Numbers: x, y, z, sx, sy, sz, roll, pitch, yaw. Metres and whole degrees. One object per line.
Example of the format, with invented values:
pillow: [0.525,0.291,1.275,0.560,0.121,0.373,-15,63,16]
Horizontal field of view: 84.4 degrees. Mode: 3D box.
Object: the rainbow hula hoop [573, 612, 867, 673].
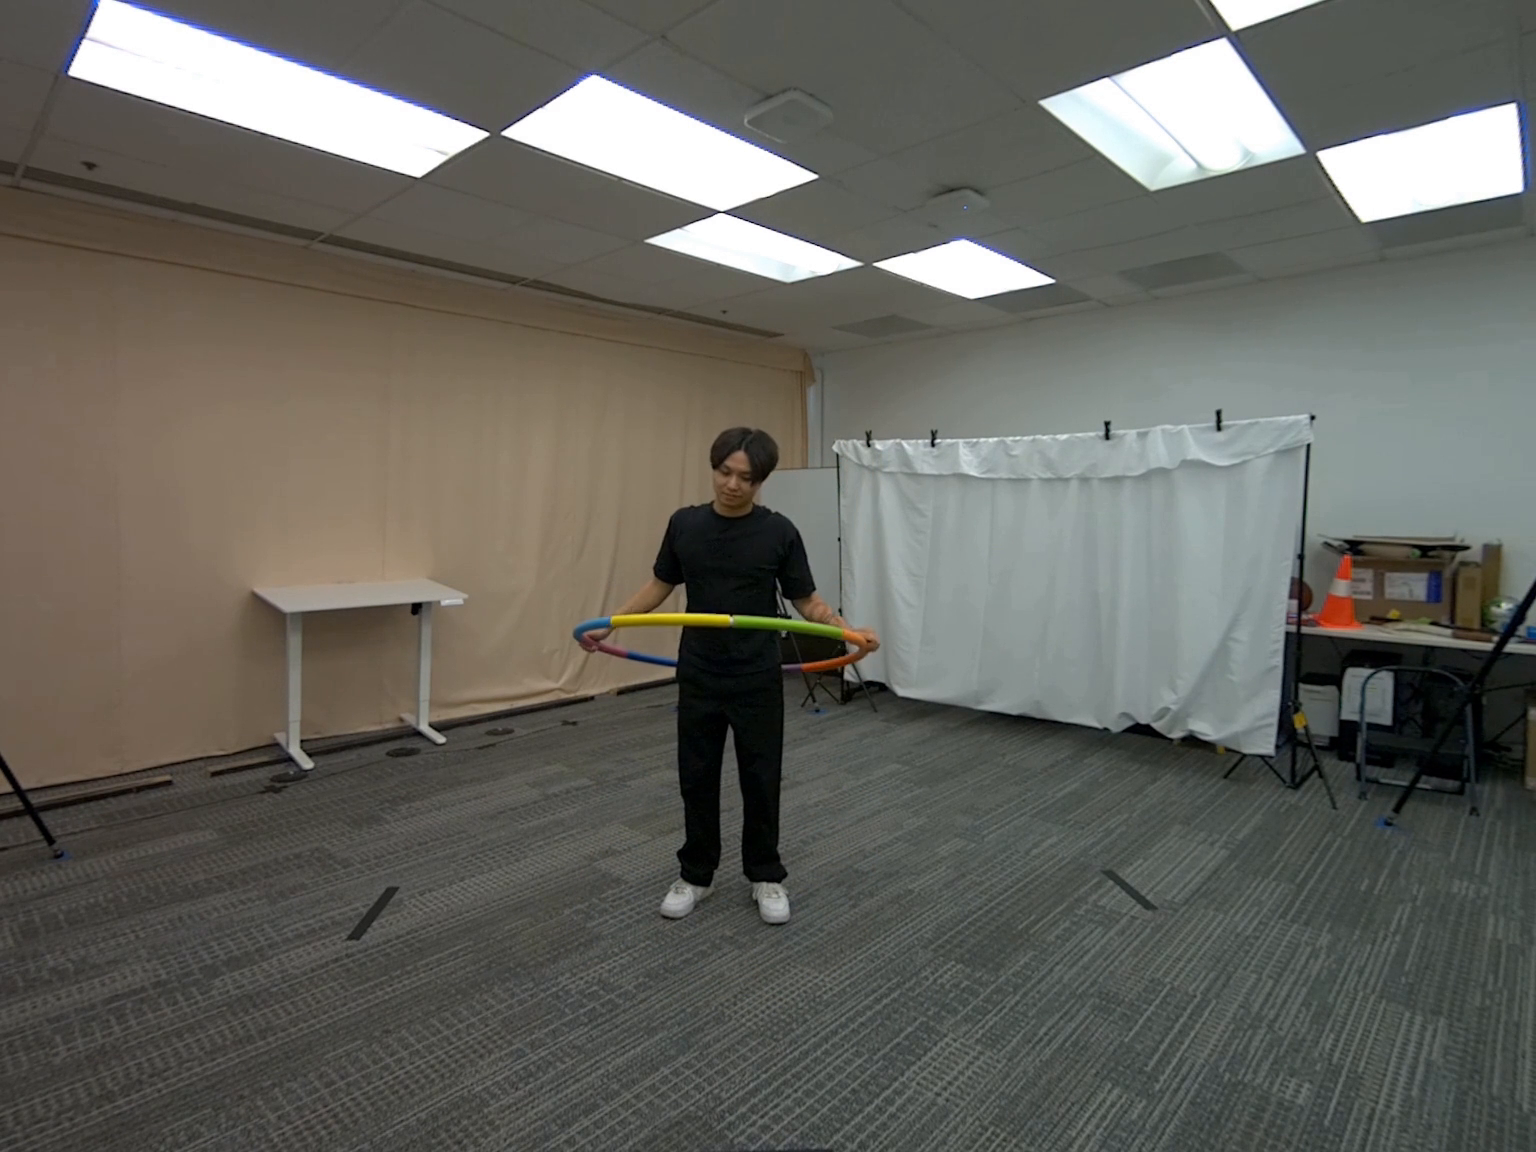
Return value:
rainbow hula hoop: [-0.160,0.224,2.825,0.979,0.036,0.970,3,-14,-1]
